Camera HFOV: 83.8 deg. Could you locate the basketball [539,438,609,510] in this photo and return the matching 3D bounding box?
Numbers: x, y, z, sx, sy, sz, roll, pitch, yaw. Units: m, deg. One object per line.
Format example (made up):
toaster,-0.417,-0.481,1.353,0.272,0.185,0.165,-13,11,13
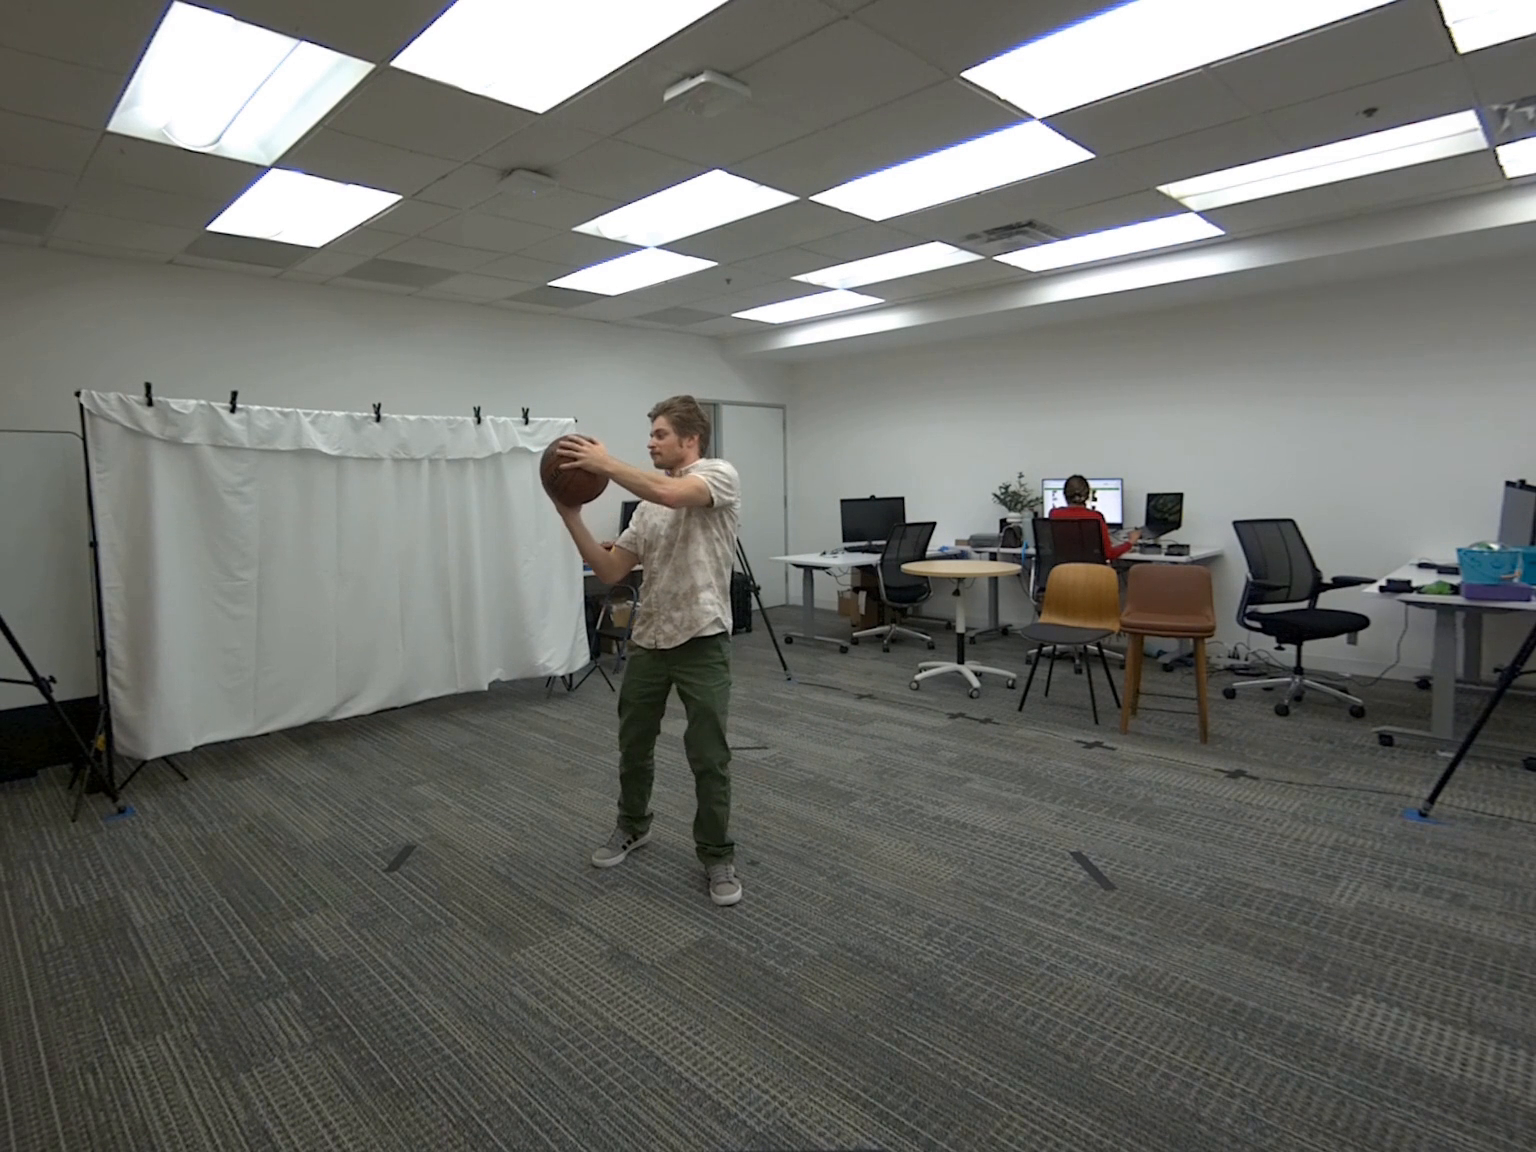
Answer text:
basketball,-0.646,-0.363,2.883,0.236,0.235,0.237,-1,5,-2
